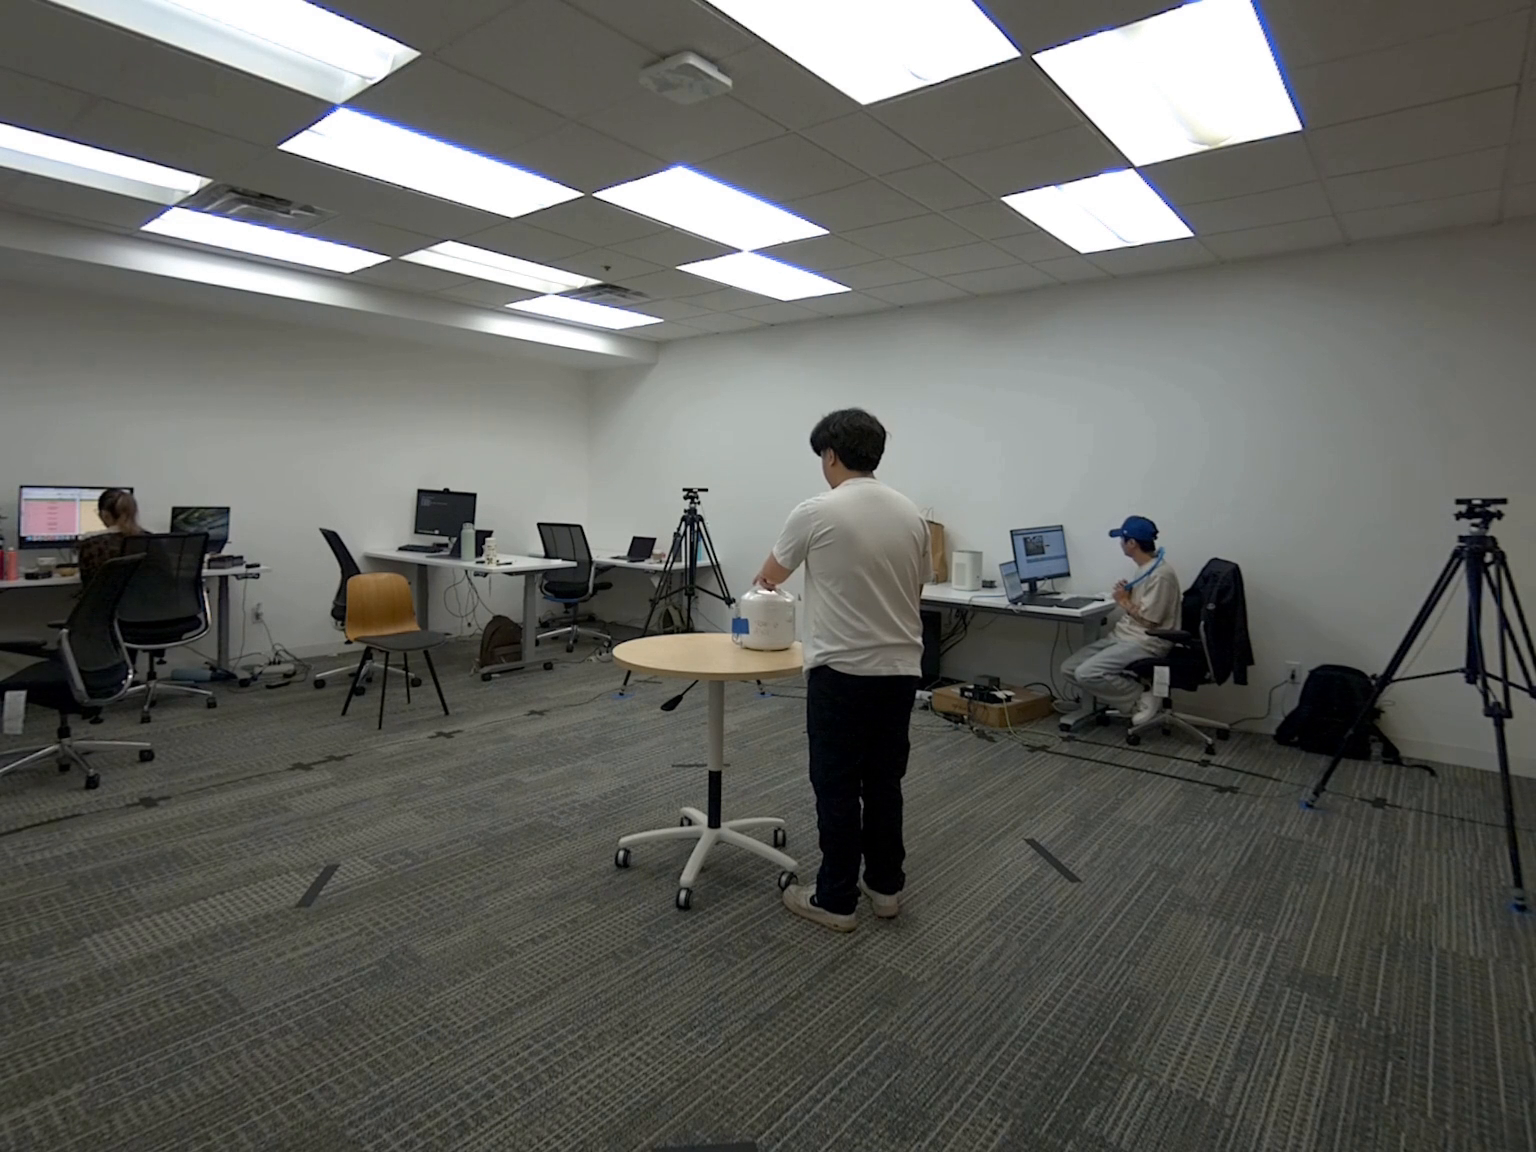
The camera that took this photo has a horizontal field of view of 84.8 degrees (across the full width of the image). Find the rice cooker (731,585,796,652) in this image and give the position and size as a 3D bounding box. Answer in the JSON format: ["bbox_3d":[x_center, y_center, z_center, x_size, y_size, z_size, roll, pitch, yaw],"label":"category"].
[{"bbox_3d":[-0.013,0.150,3.209,0.228,0.232,0.211,4,6,39],"label":"rice cooker"}]
